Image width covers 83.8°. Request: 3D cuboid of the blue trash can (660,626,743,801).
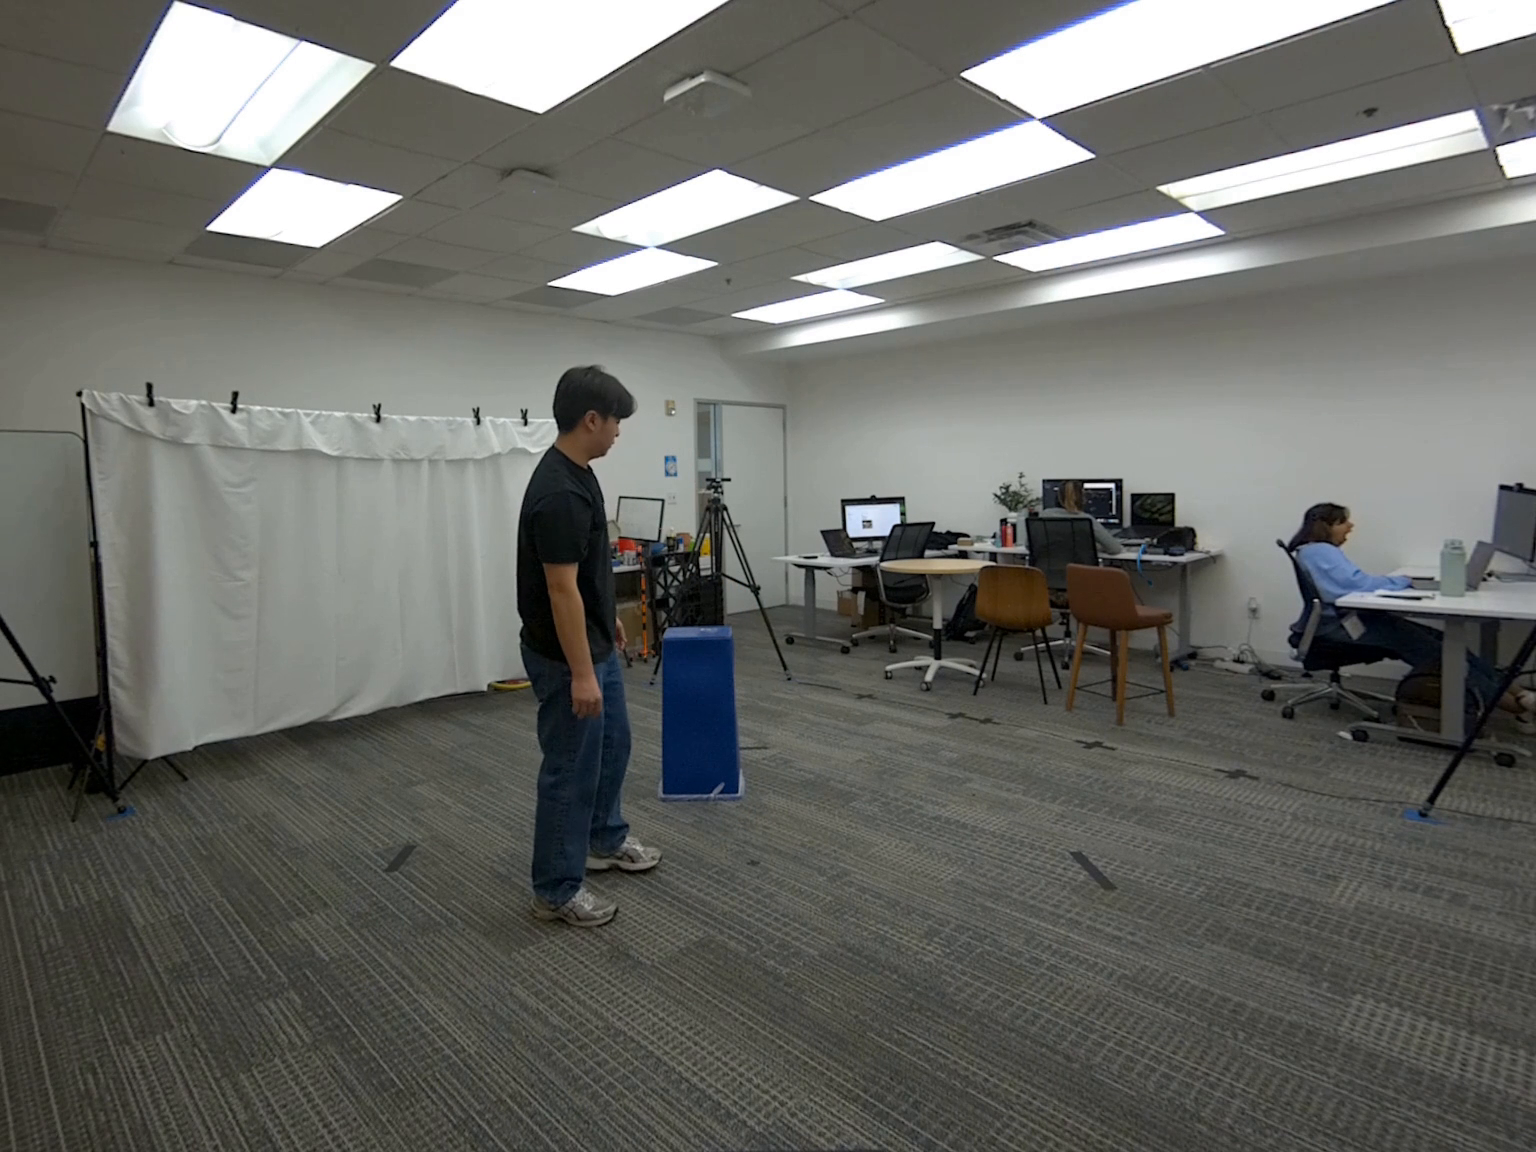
[{"bbox_3d":[-0.304,0.610,3.892,0.378,0.712,0.375,-1,3,-1],"label":"blue trash can"}]
